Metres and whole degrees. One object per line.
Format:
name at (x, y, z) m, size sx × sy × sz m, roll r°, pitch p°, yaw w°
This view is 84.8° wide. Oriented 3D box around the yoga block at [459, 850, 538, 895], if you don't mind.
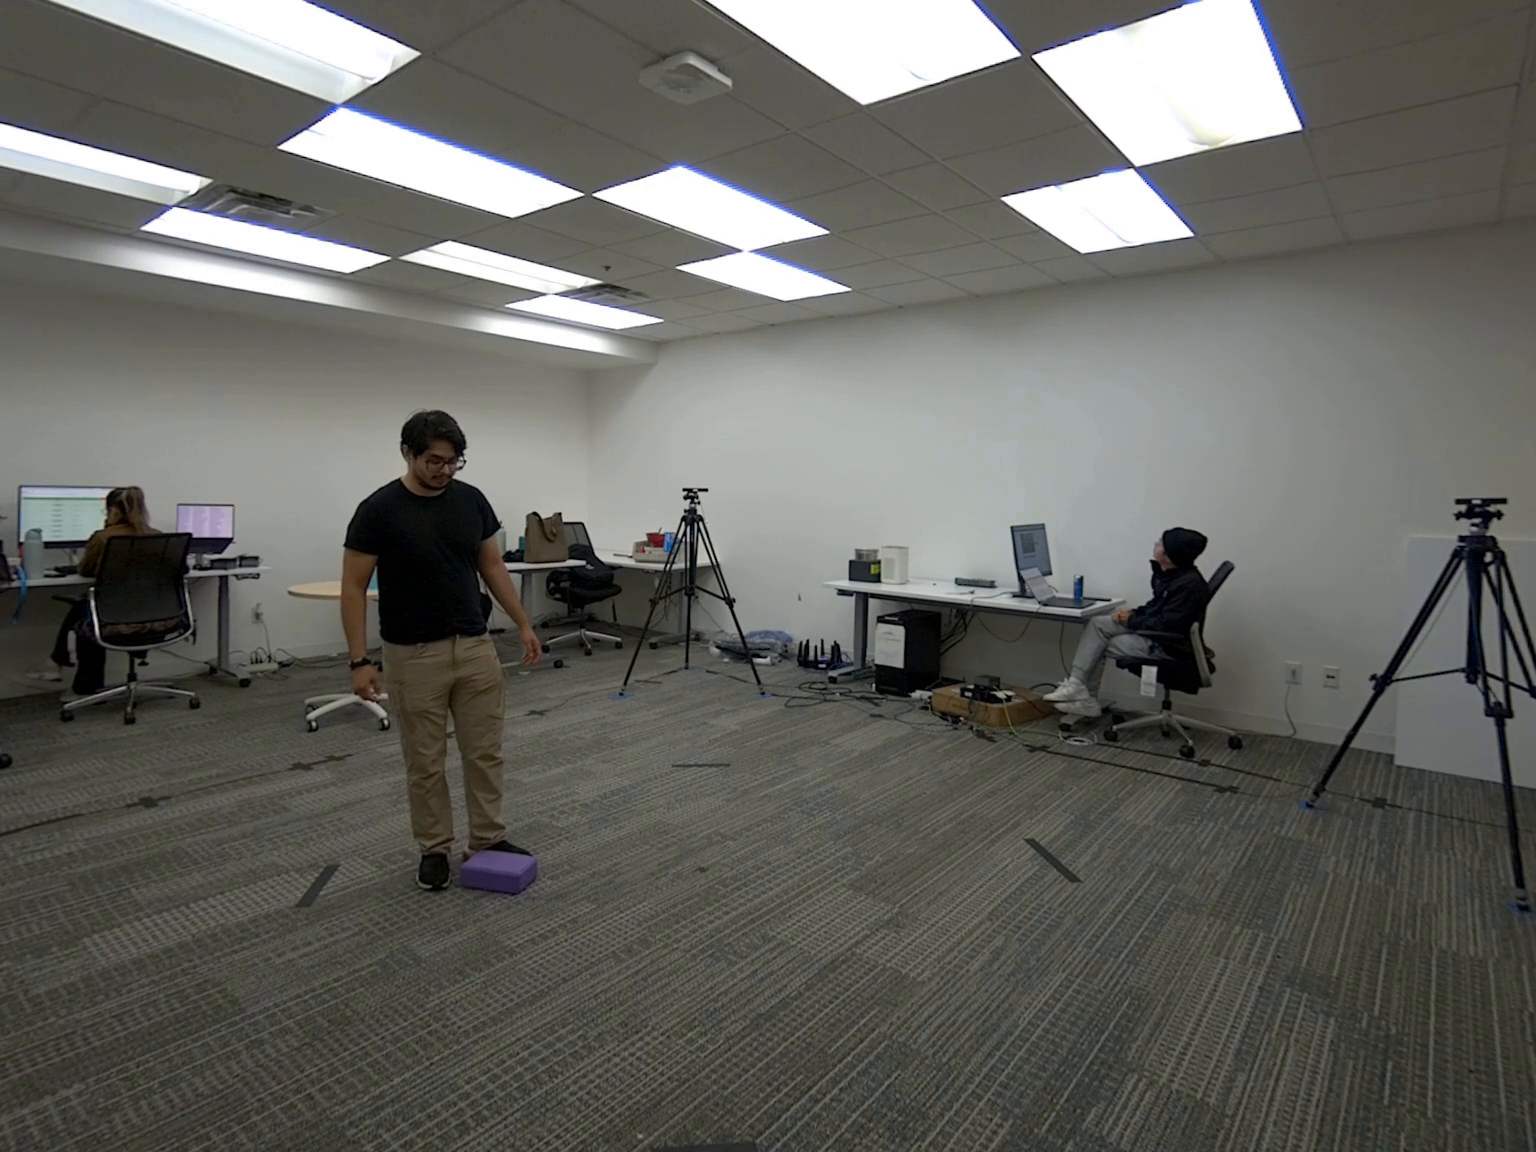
yoga block at (-0.954, 1.033, 2.973) m, size 0.232 × 0.076 × 0.148 m, roll 2°, pitch 6°, yaw 11°
